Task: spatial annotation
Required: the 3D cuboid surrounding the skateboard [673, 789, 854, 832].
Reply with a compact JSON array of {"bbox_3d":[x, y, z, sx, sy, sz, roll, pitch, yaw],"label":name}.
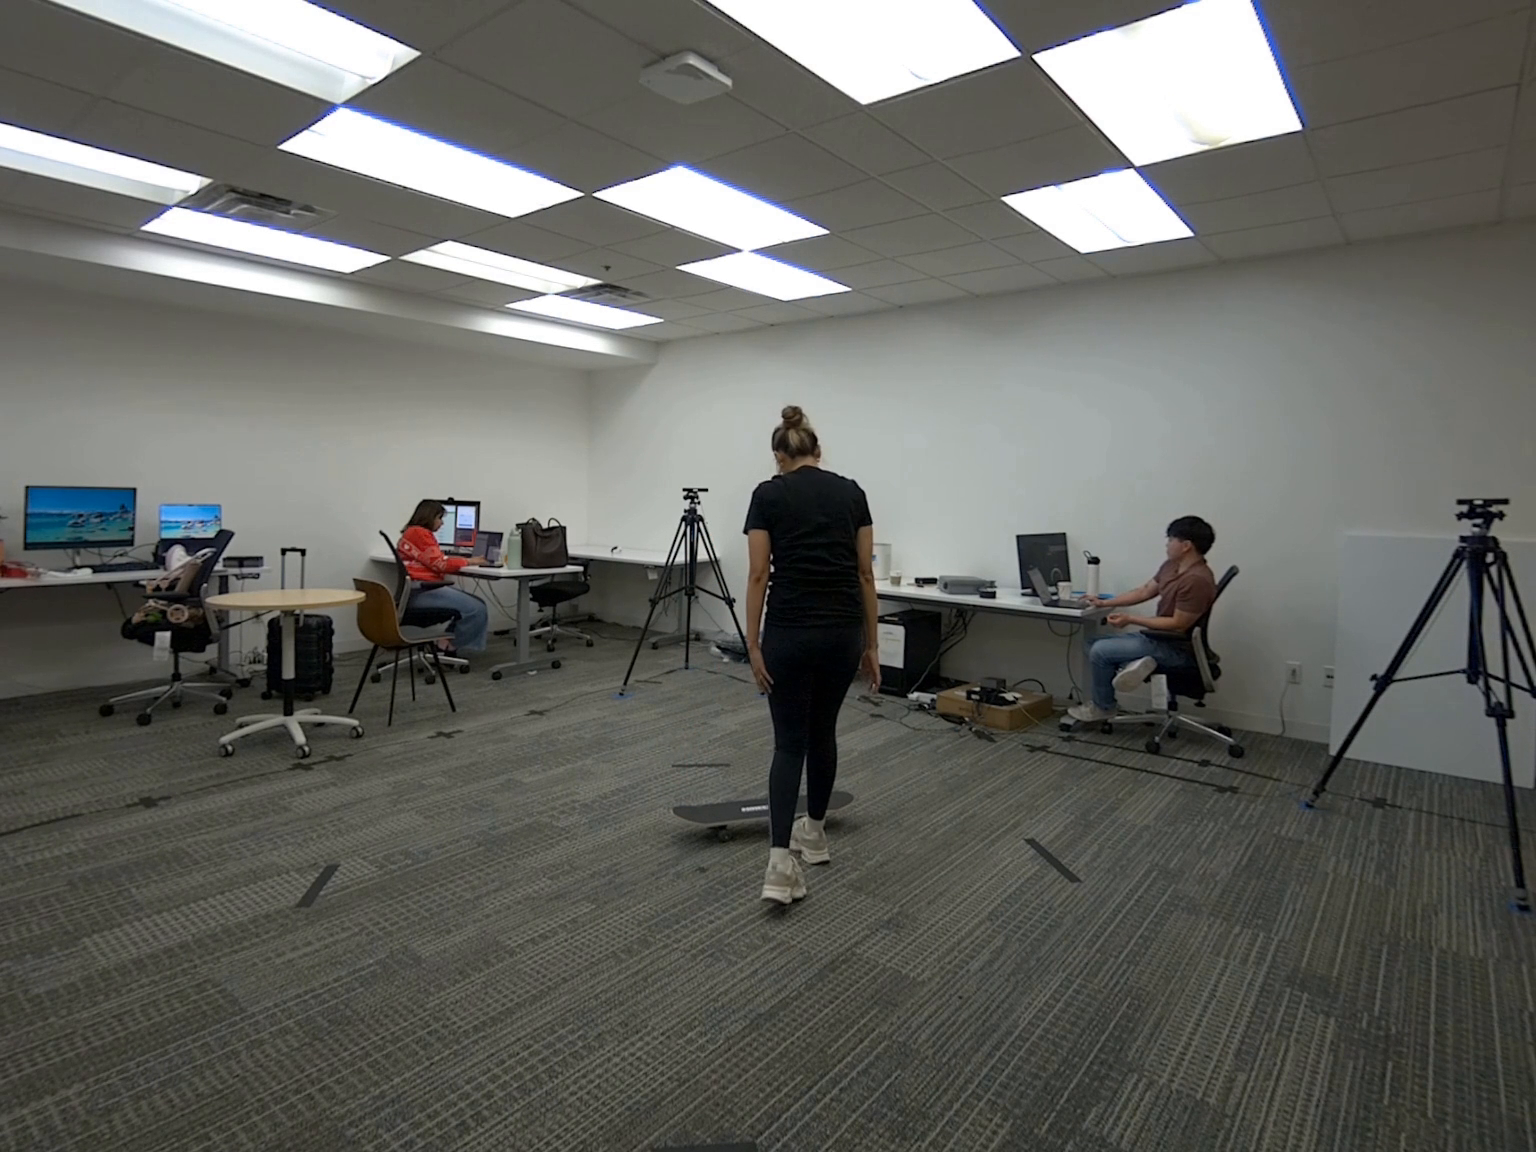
[{"bbox_3d":[-0.020,0.979,3.493,0.771,0.110,0.198,-1,7,-17],"label":"skateboard"}]
